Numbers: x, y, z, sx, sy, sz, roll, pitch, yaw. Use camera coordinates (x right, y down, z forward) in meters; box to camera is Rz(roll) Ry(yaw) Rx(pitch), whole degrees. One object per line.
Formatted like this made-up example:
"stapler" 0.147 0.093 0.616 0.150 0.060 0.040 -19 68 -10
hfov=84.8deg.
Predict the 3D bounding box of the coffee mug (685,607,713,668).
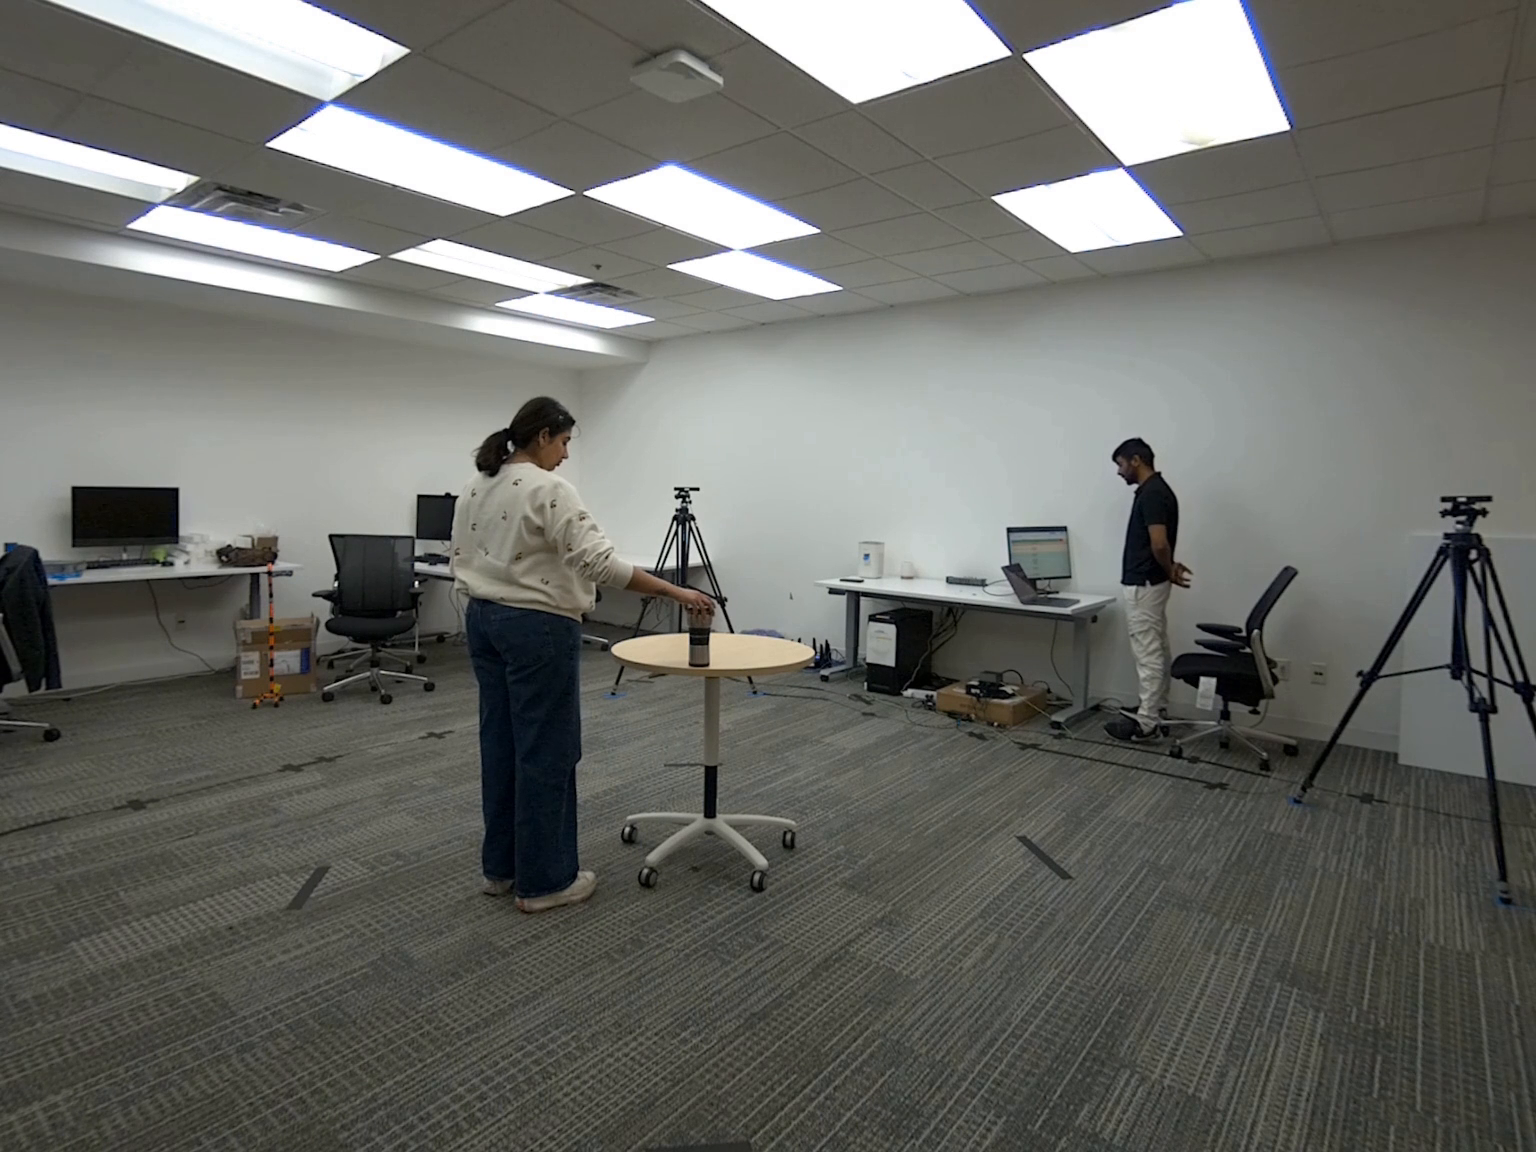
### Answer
"coffee mug" -0.232 0.204 2.899 0.090 0.202 0.119 1 3 31
